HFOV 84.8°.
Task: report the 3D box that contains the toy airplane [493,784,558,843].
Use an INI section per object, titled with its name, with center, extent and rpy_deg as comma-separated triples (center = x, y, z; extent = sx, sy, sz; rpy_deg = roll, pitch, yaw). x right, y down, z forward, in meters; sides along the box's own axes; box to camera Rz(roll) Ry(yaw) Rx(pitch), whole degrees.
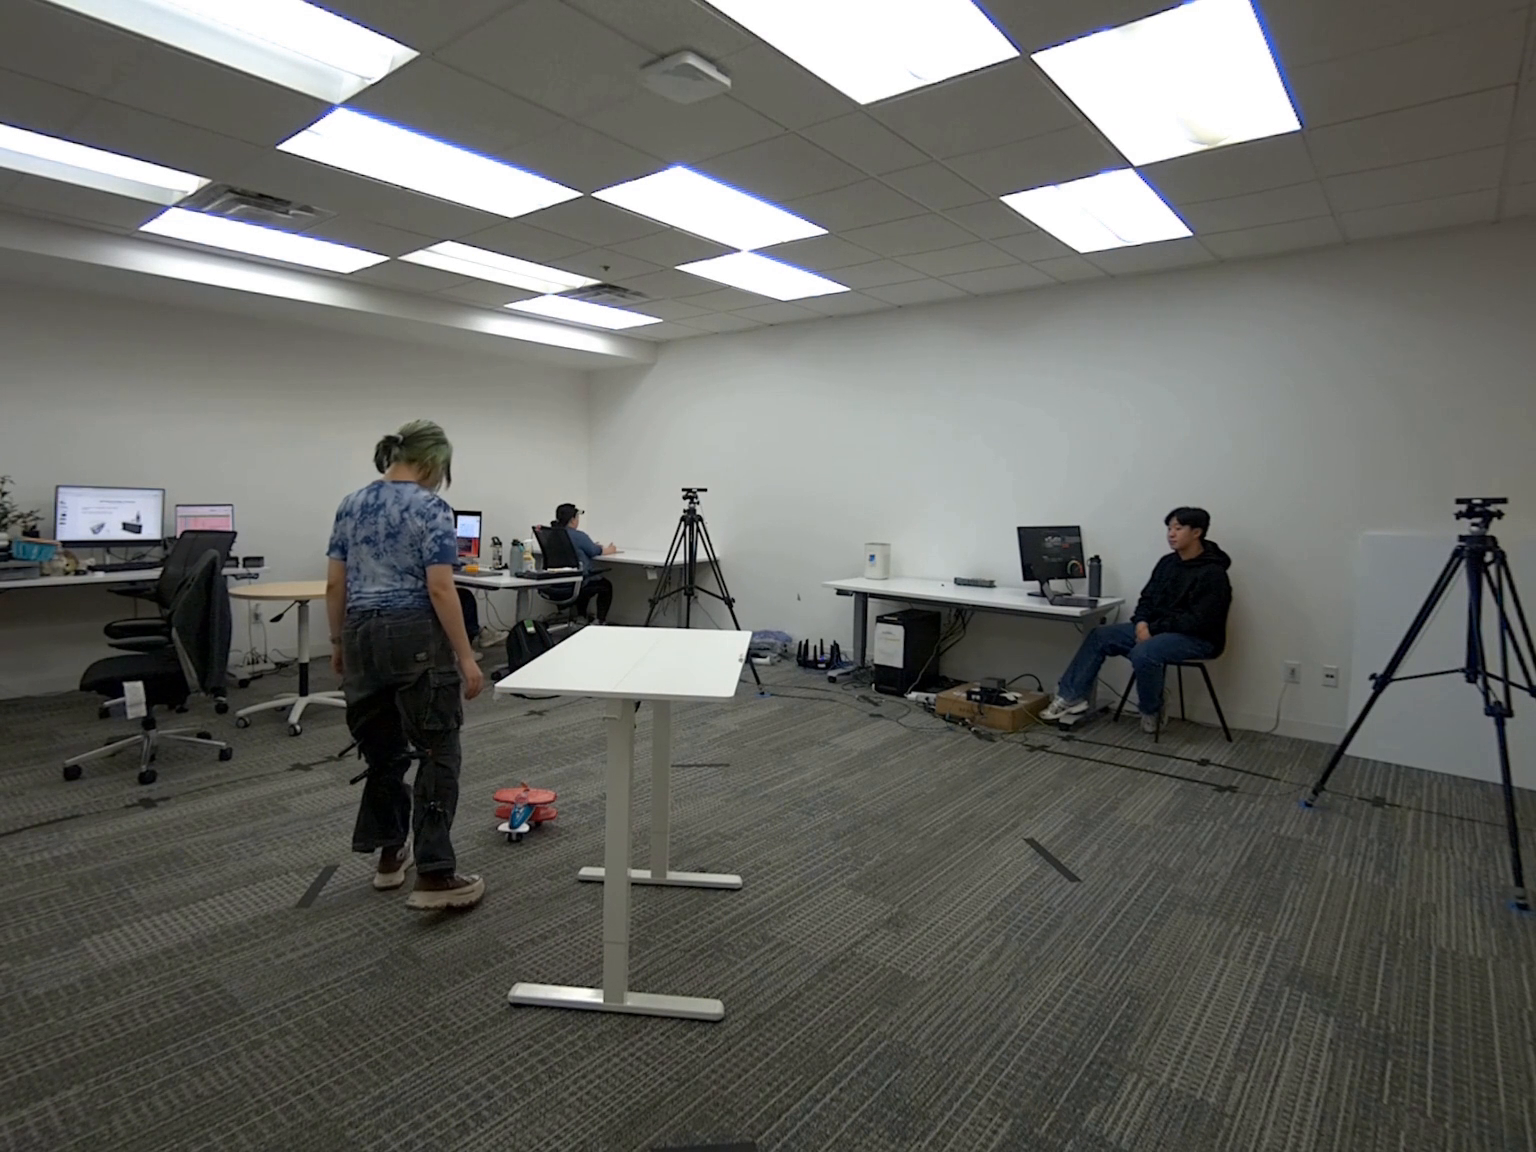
[toy airplane]
center = -0.984, 0.954, 3.419
extent = 0.245, 0.156, 0.266
rpy_deg = -1, 5, -25
